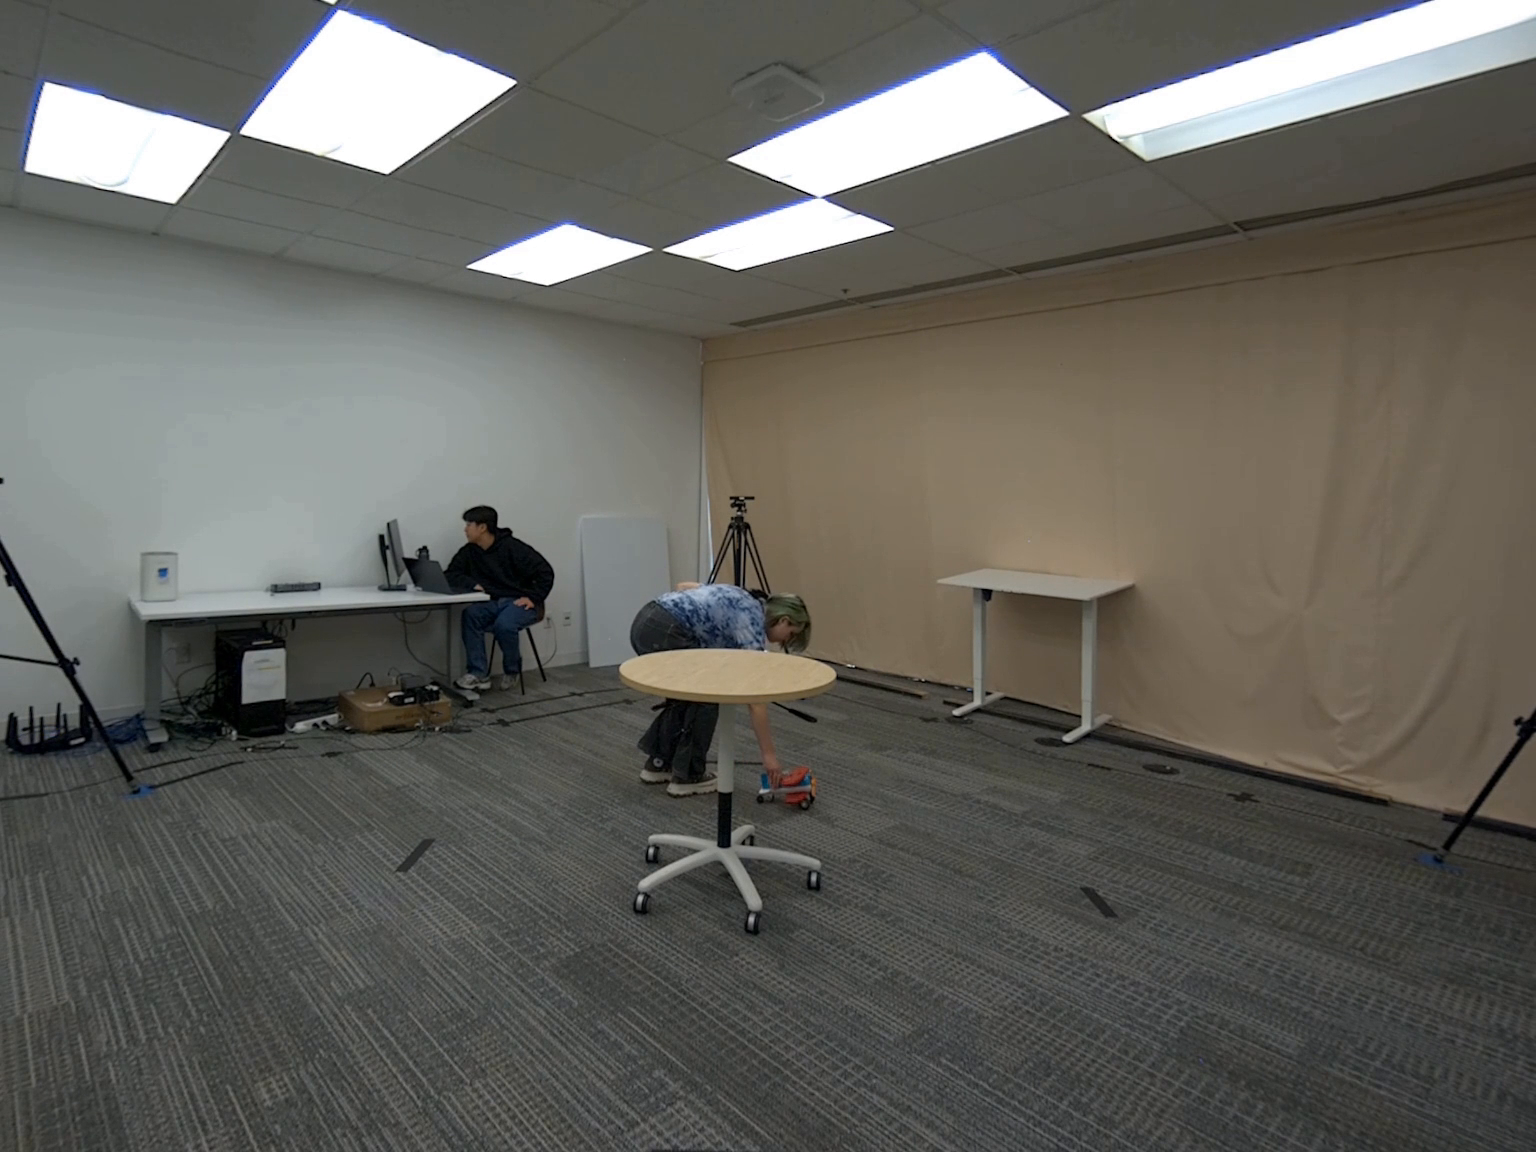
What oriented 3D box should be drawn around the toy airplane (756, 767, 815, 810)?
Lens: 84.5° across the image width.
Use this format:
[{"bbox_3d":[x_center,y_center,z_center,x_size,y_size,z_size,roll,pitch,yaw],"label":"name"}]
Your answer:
[{"bbox_3d":[0.080,0.973,3.835,0.257,0.156,0.254,2,3,-13],"label":"toy airplane"}]
